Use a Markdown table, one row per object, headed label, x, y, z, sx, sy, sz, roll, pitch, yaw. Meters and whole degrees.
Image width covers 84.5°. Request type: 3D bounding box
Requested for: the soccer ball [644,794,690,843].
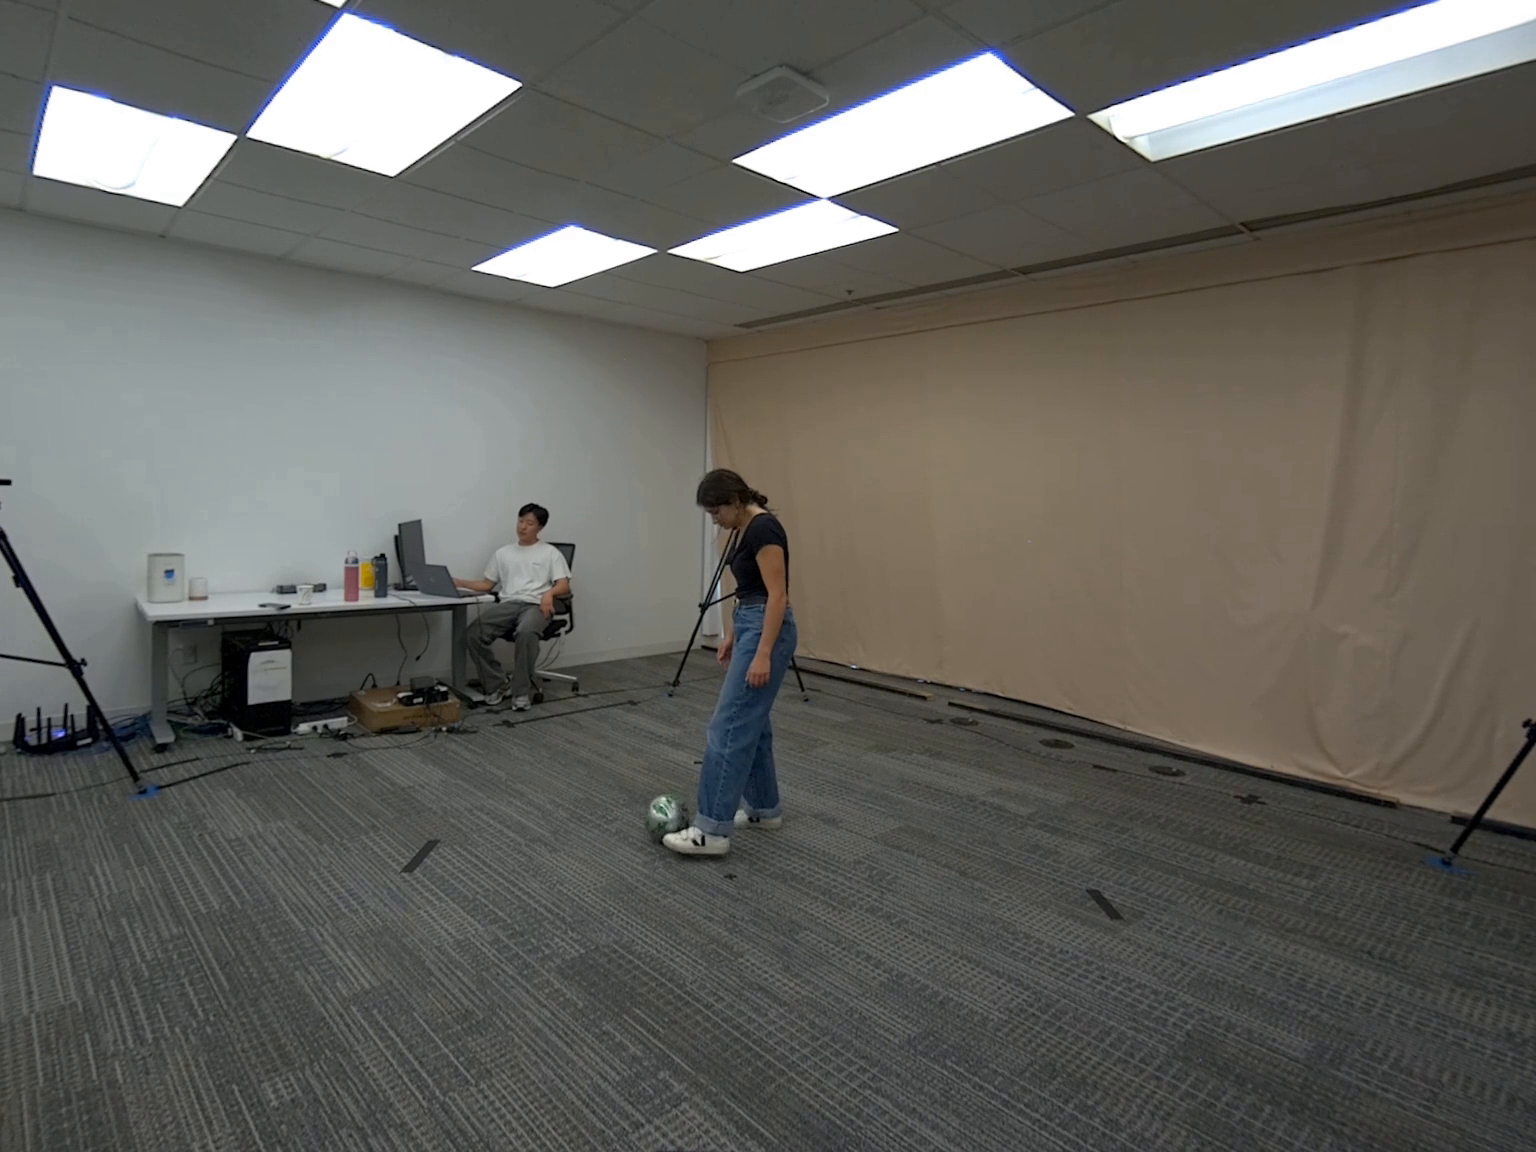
| label | x | y | z | sx | sy | sz | roll | pitch | yaw |
| --- | --- | --- | --- | --- | --- | --- | --- | --- | --- |
| soccer ball | -0.414 | 0.980 | 3.407 | 0.187 | 0.187 | 0.188 | 1 | 4 | -1 |
